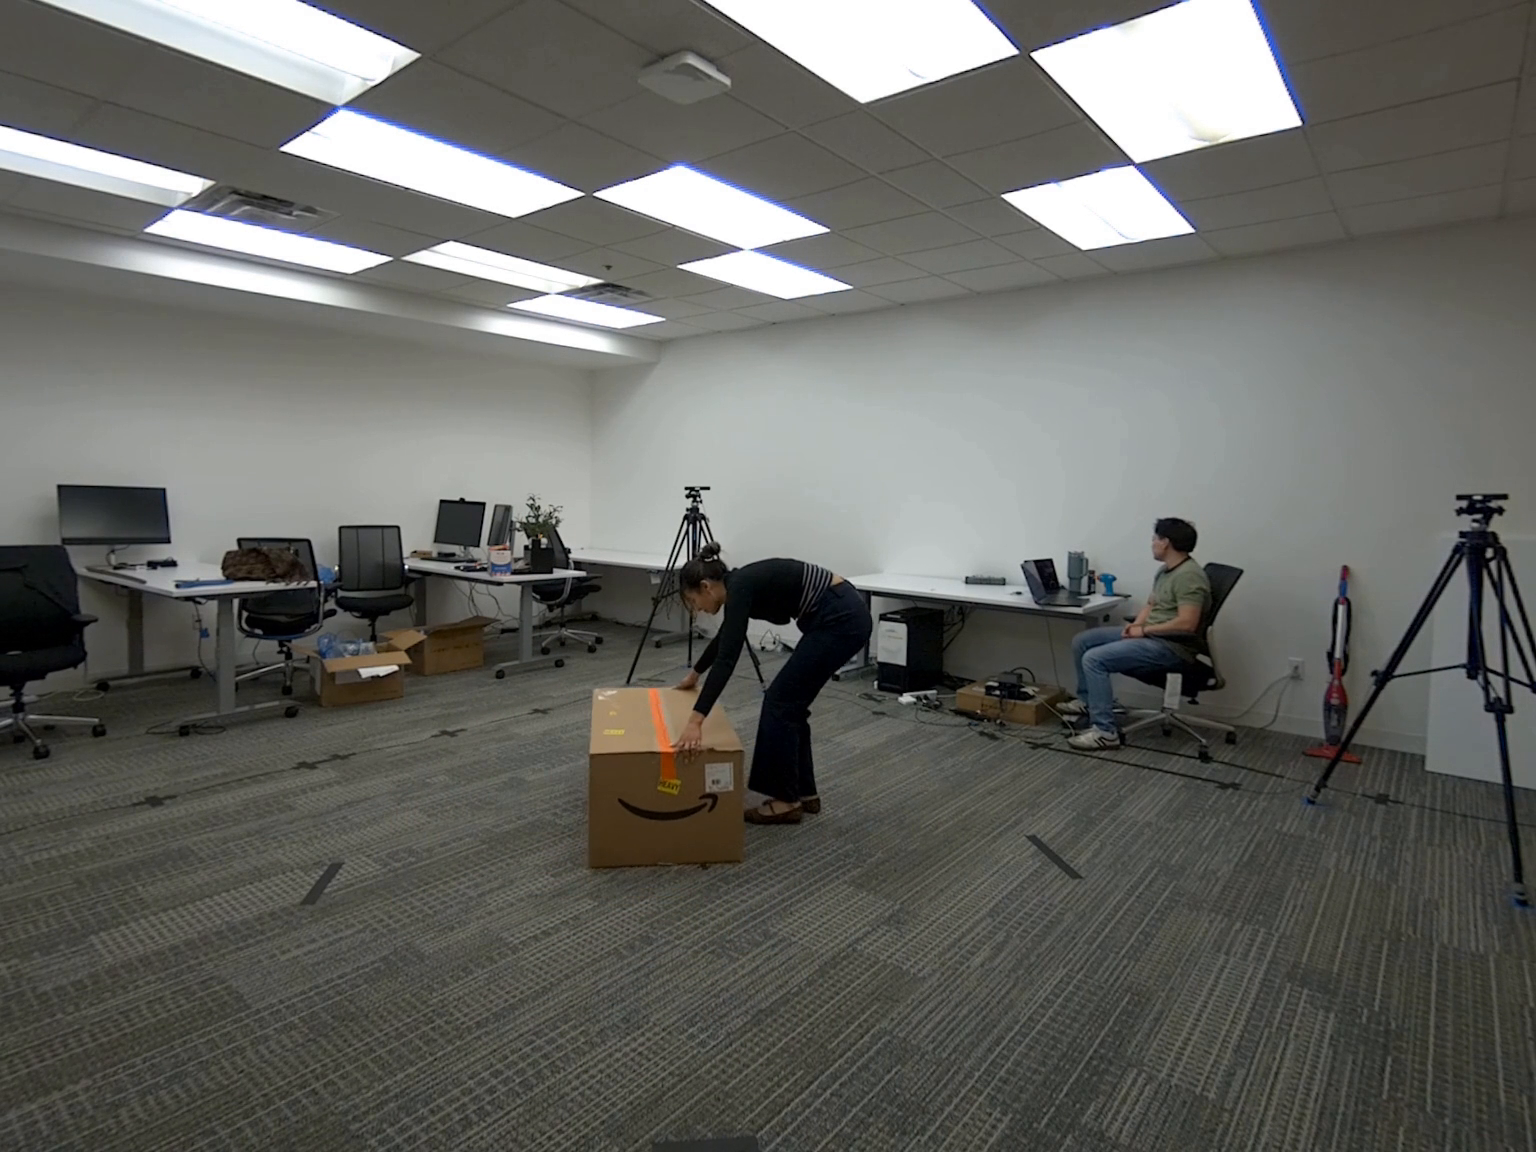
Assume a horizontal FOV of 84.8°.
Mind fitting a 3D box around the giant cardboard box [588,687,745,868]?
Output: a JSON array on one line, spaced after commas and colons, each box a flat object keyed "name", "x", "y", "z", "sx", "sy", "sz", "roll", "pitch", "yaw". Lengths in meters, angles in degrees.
[{"name": "giant cardboard box", "x": -0.476, "y": 0.795, "z": 3.612, "sx": 0.572, "sy": 0.424, "sz": 1.040, "roll": 0, "pitch": 5, "yaw": -10}]
